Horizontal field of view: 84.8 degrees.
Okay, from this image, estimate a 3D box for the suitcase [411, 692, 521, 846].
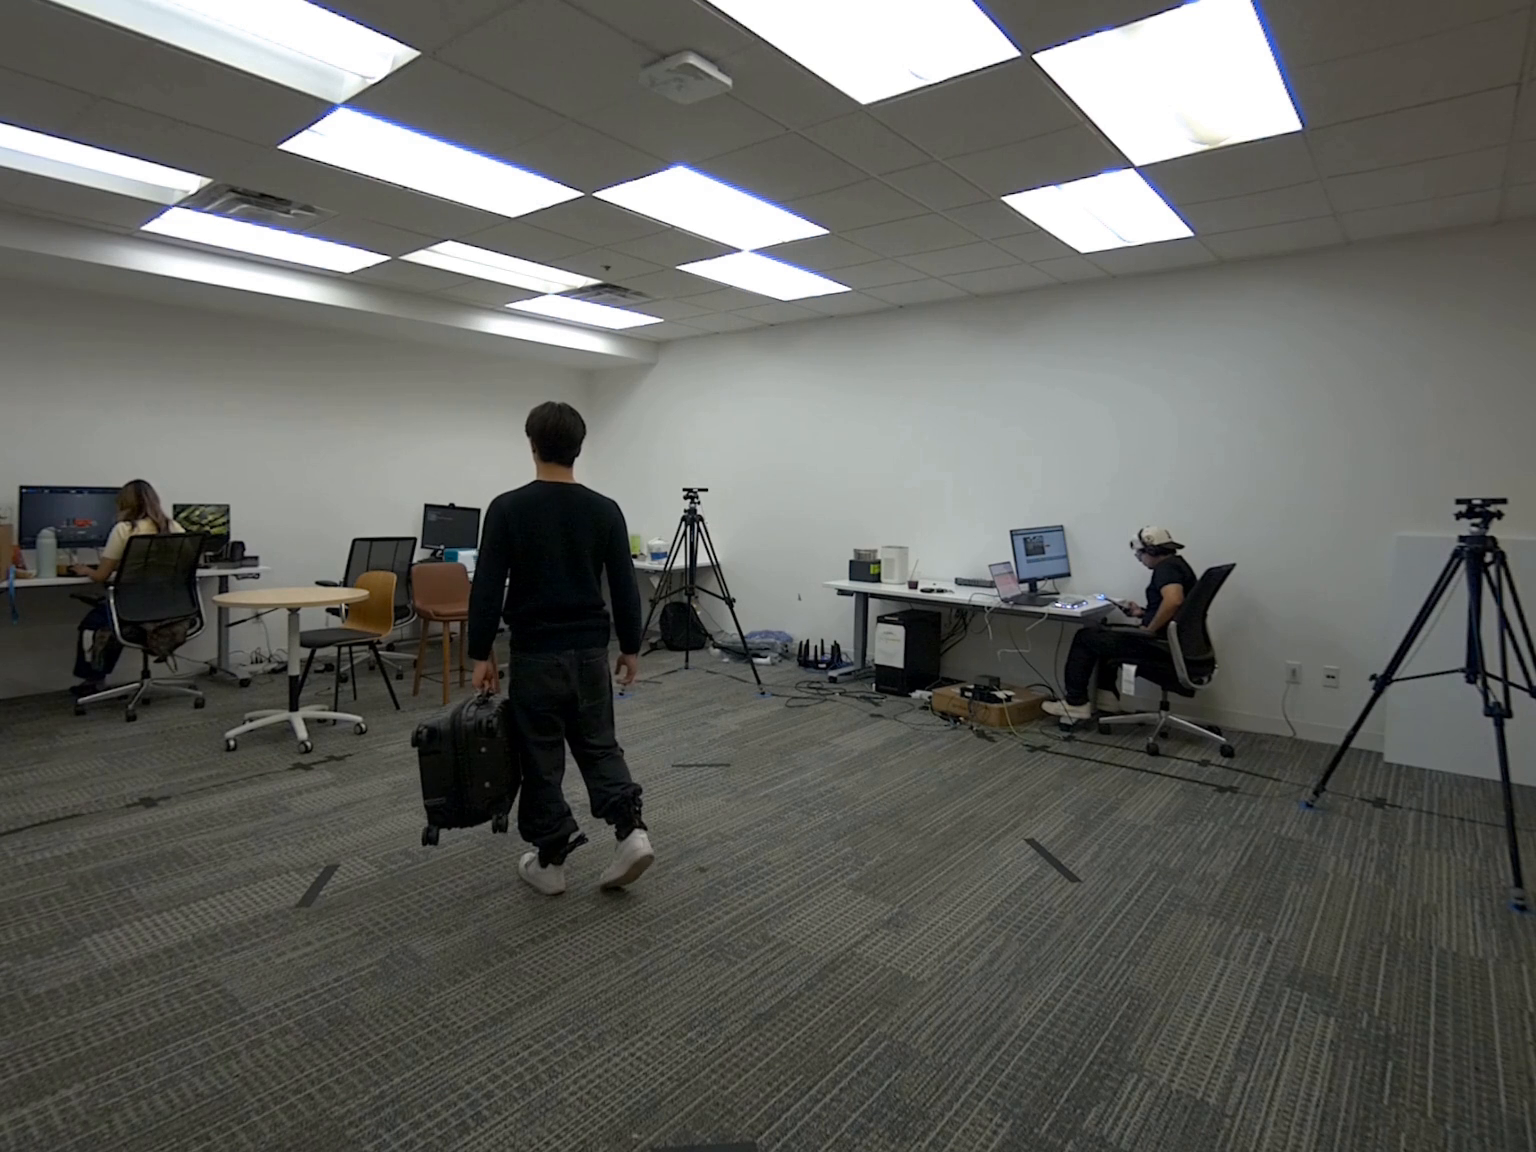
[{"bbox_3d":[-1.024,0.588,3.013,0.254,0.384,0.988,-4,1,-11],"label":"suitcase"}]
